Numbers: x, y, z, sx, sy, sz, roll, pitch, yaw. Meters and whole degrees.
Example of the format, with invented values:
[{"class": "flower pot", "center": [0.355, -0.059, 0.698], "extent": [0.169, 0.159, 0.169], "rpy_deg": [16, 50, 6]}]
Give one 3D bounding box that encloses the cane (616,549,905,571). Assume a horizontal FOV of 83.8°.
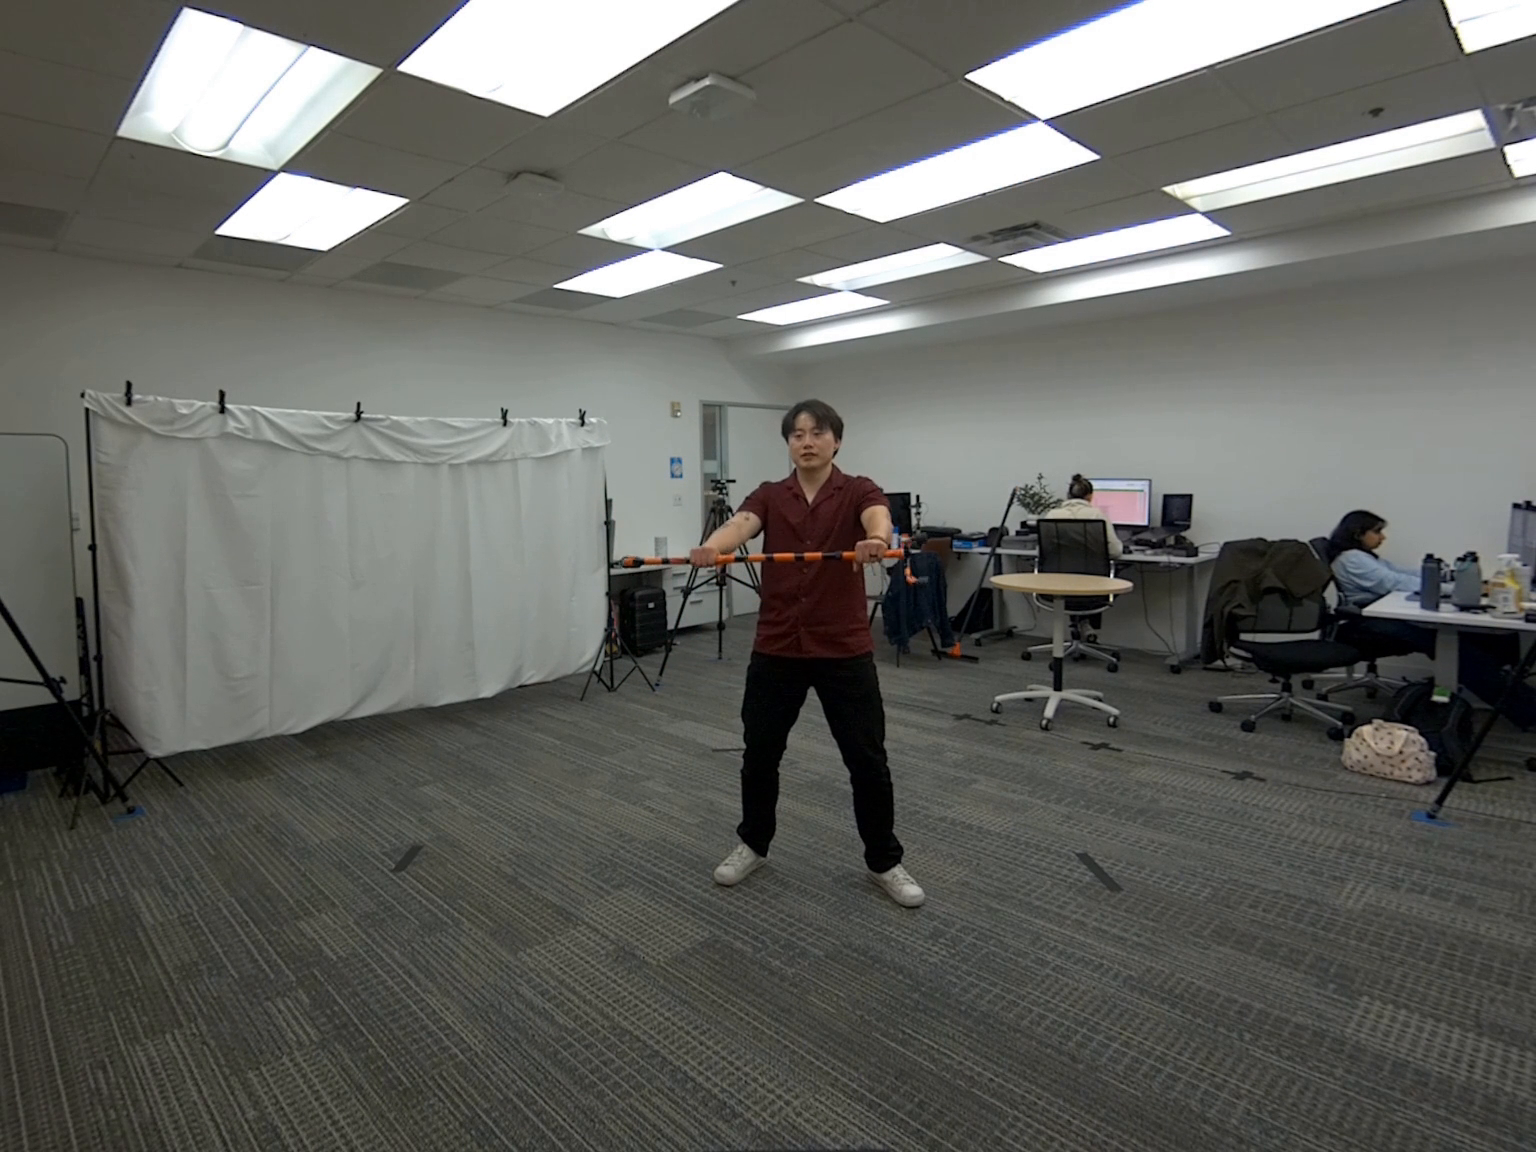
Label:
[{"class": "cane", "center": [-0.005, -0.036, 2.497], "extent": [0.921, 0.151, 0.203], "rpy_deg": [0, 2, 15]}]
